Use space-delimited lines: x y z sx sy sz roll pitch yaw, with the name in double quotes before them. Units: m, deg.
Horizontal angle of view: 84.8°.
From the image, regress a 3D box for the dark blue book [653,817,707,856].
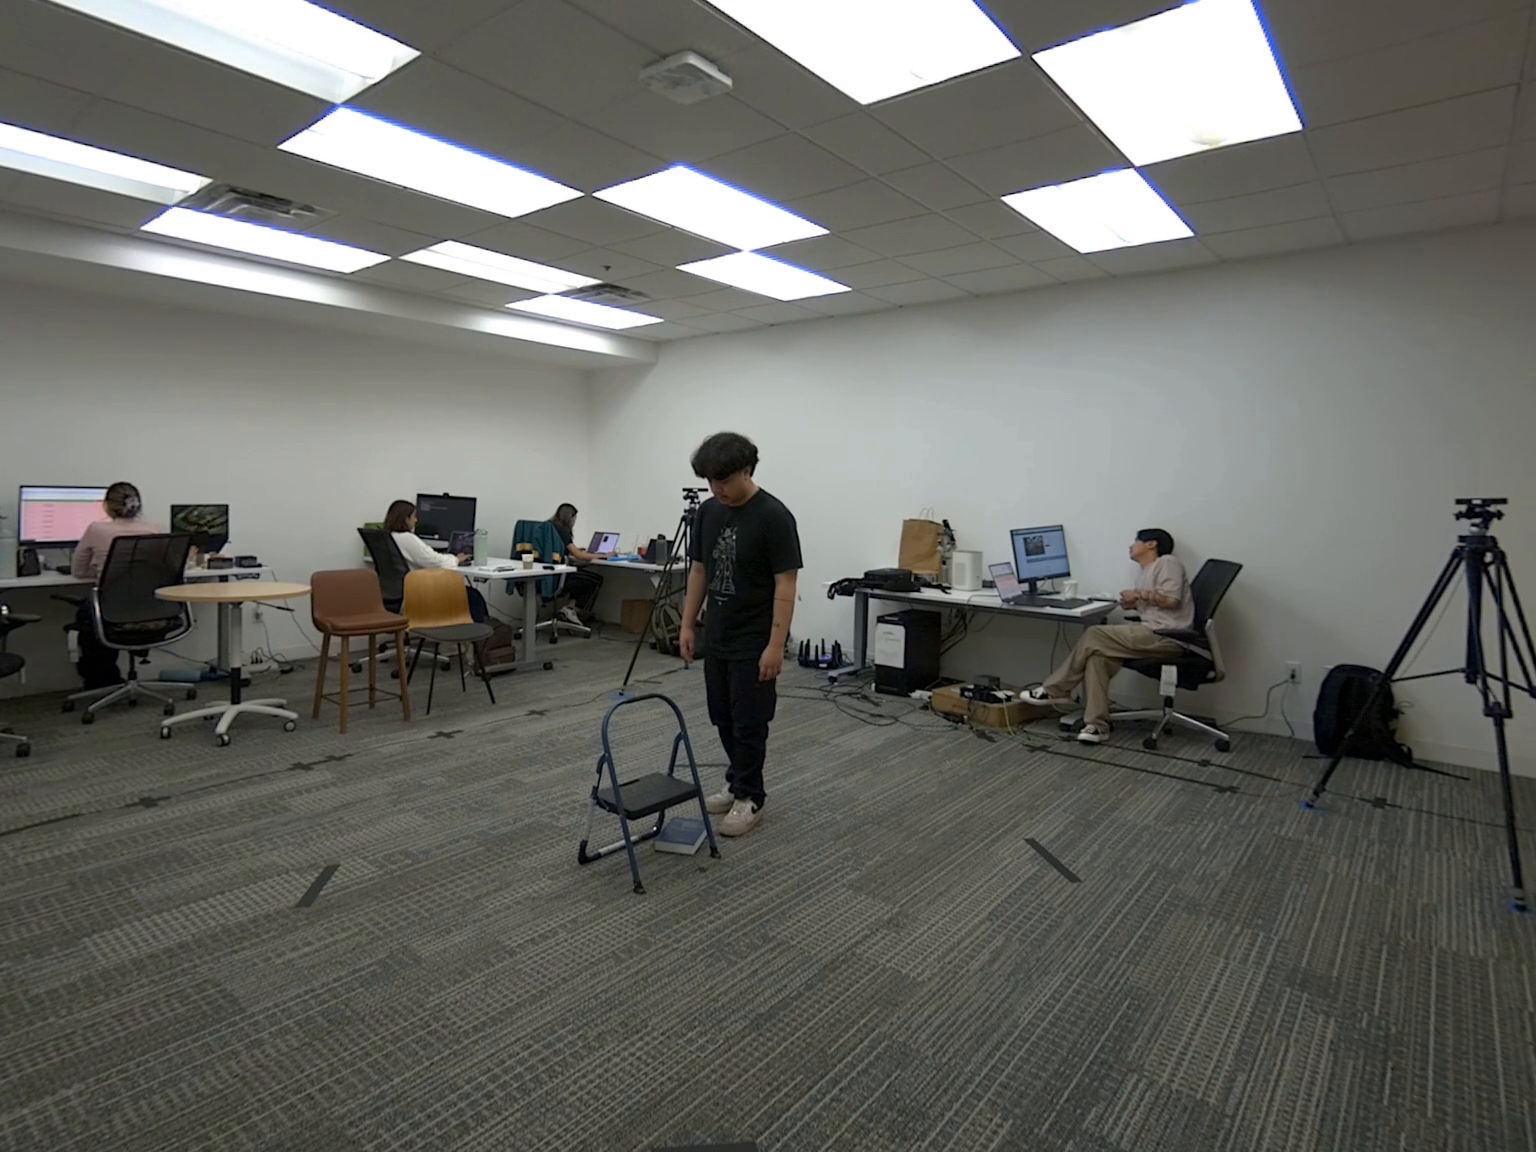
"dark blue book" -0.351 1.023 3.362 0.166 0.045 0.242 2 5 12
